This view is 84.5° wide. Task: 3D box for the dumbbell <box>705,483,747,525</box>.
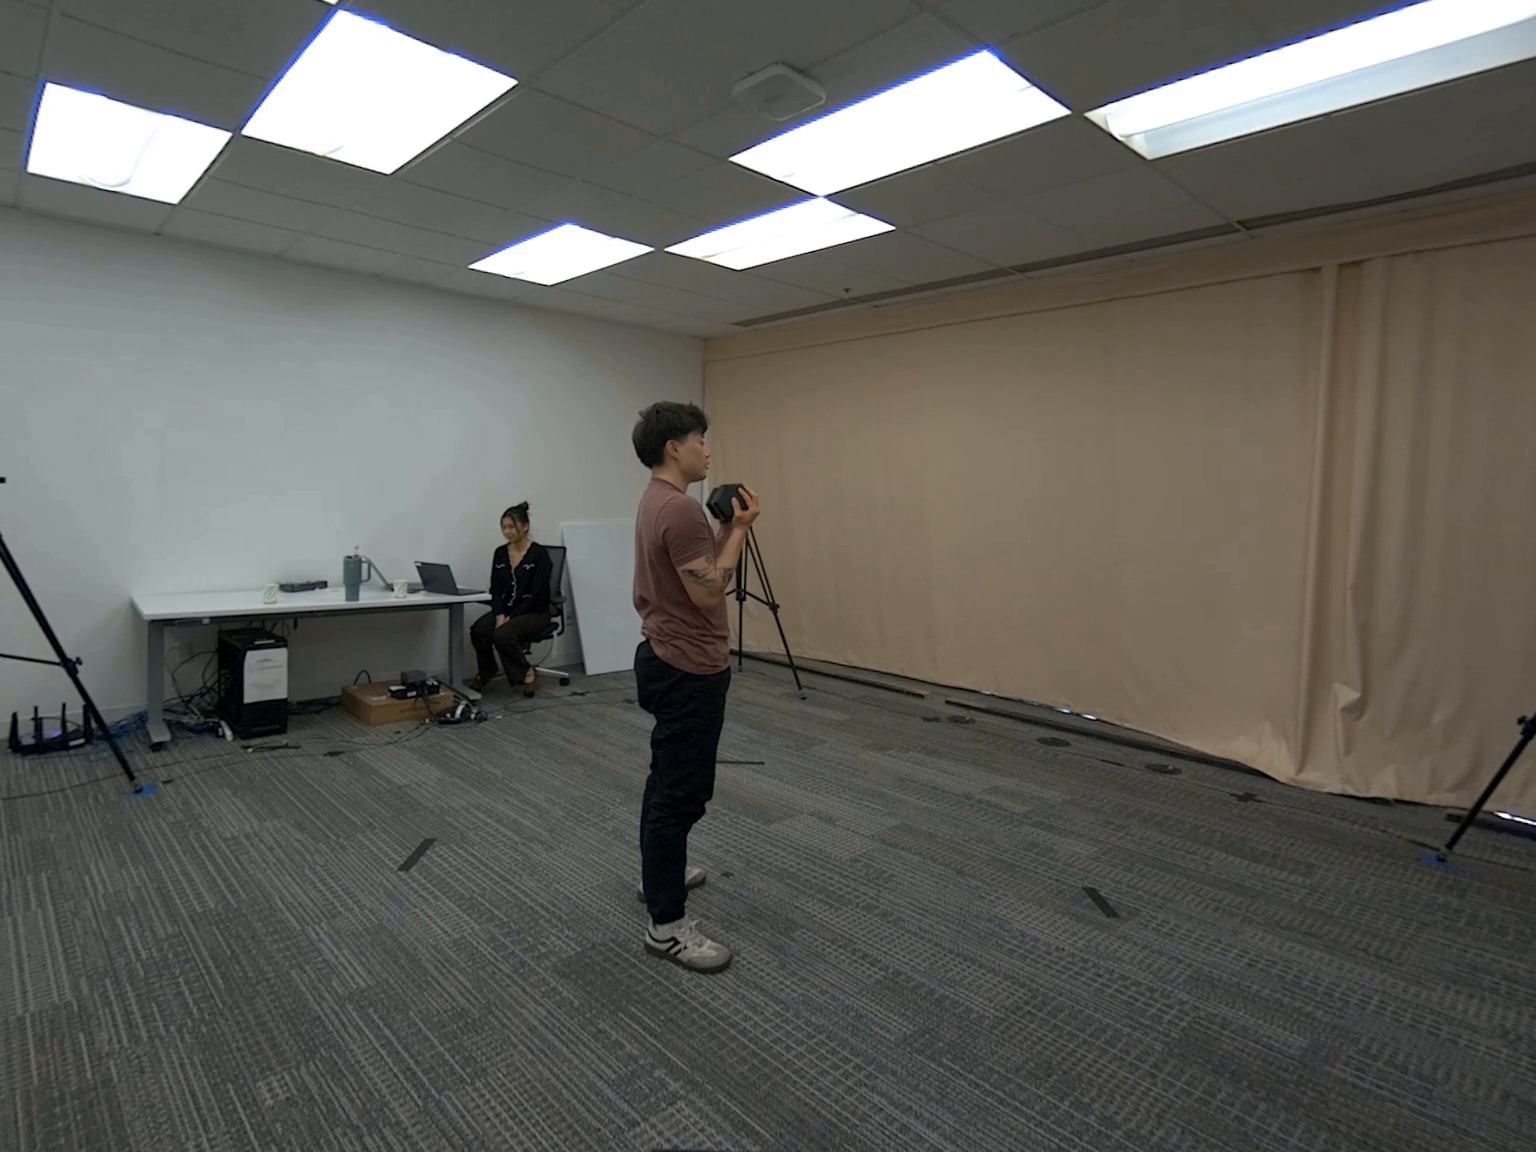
[{"bbox_3d":[-0.132,-0.240,2.706,0.107,0.123,0.297,30,-3,-12],"label":"dumbbell"}]
